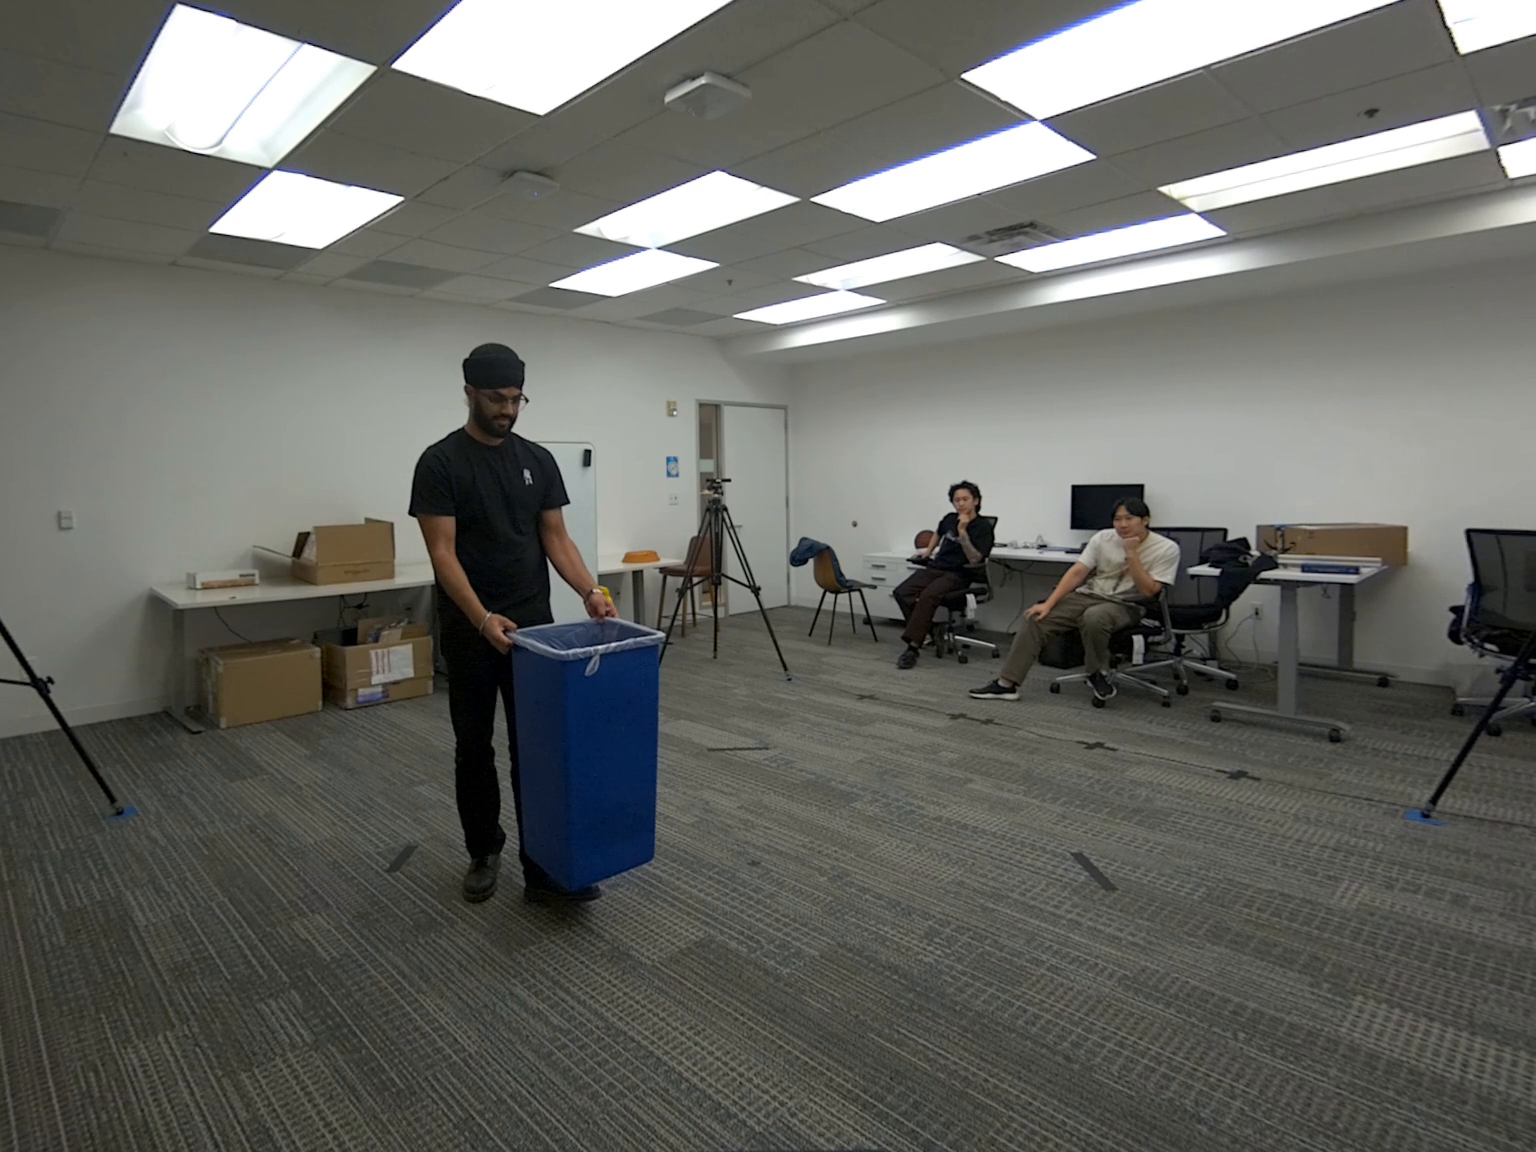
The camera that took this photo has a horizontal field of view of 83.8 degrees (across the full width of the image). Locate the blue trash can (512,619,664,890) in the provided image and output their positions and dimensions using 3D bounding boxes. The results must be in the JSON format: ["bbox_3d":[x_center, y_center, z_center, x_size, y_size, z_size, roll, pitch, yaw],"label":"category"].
[{"bbox_3d":[-0.562,0.528,2.627,0.368,0.709,0.386,-5,9,-41],"label":"blue trash can"}]
